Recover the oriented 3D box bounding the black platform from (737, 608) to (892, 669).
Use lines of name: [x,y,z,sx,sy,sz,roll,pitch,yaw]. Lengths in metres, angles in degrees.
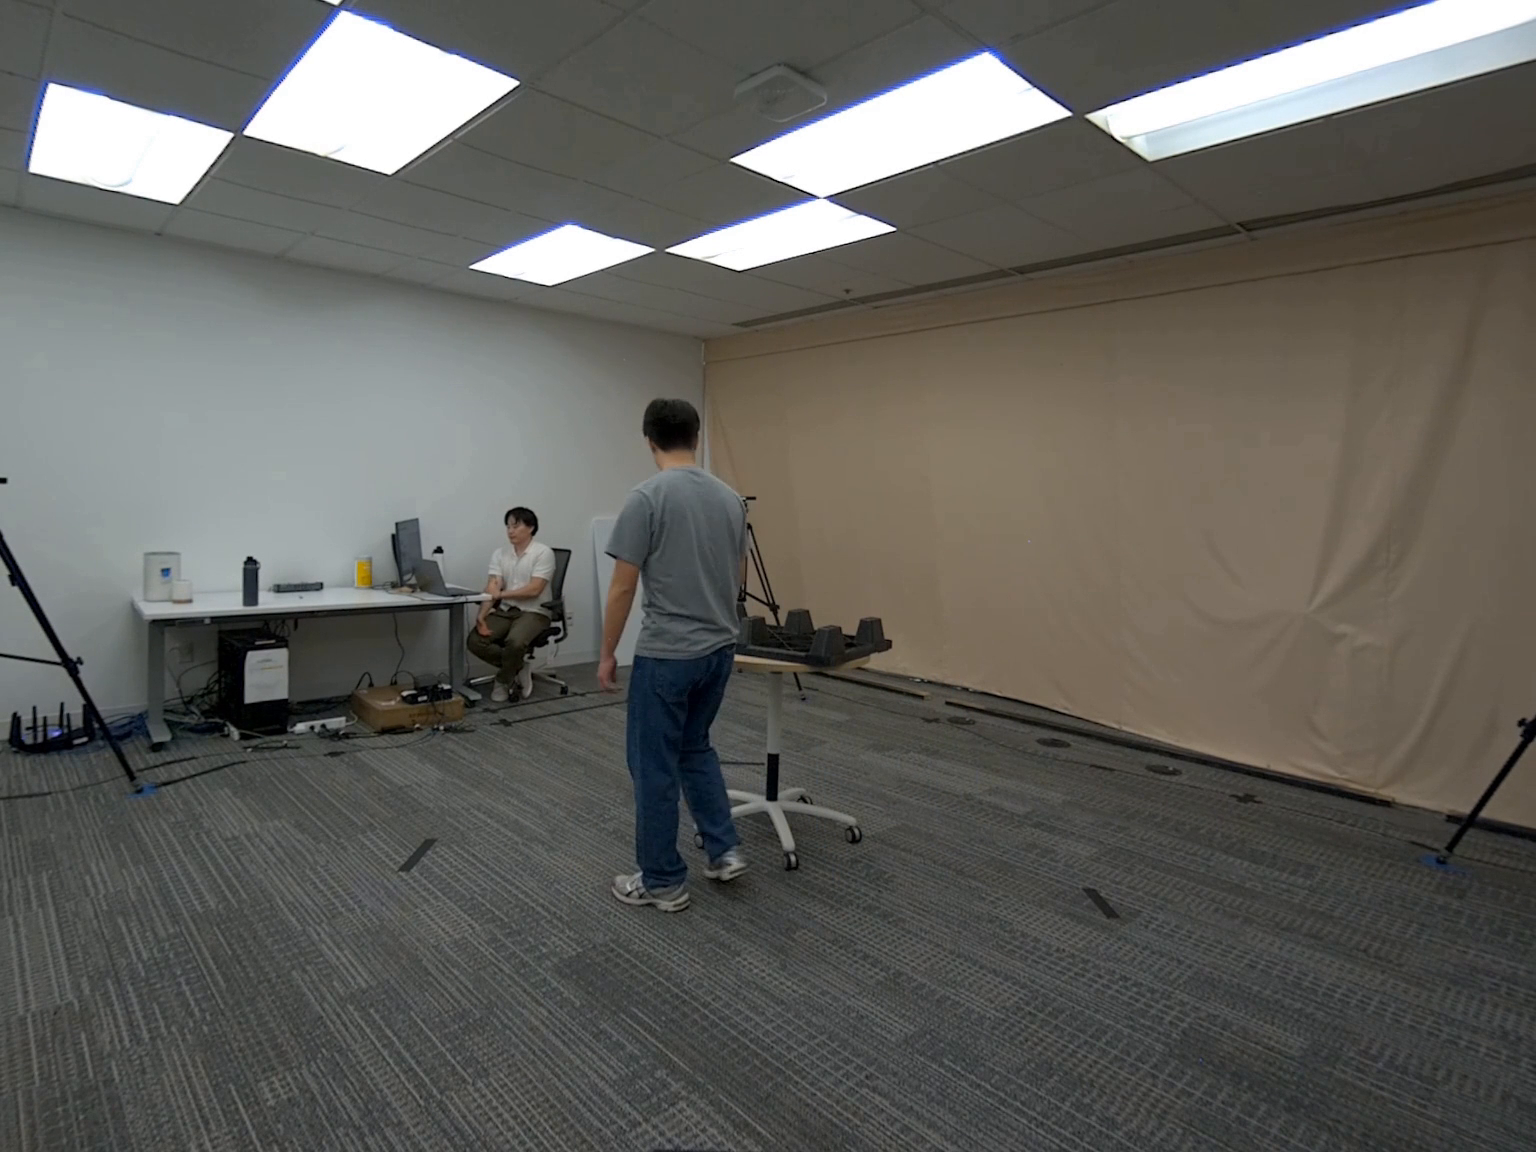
black platform: [0.023,0.228,3.522,0.824,0.143,0.592,5,5,33]
